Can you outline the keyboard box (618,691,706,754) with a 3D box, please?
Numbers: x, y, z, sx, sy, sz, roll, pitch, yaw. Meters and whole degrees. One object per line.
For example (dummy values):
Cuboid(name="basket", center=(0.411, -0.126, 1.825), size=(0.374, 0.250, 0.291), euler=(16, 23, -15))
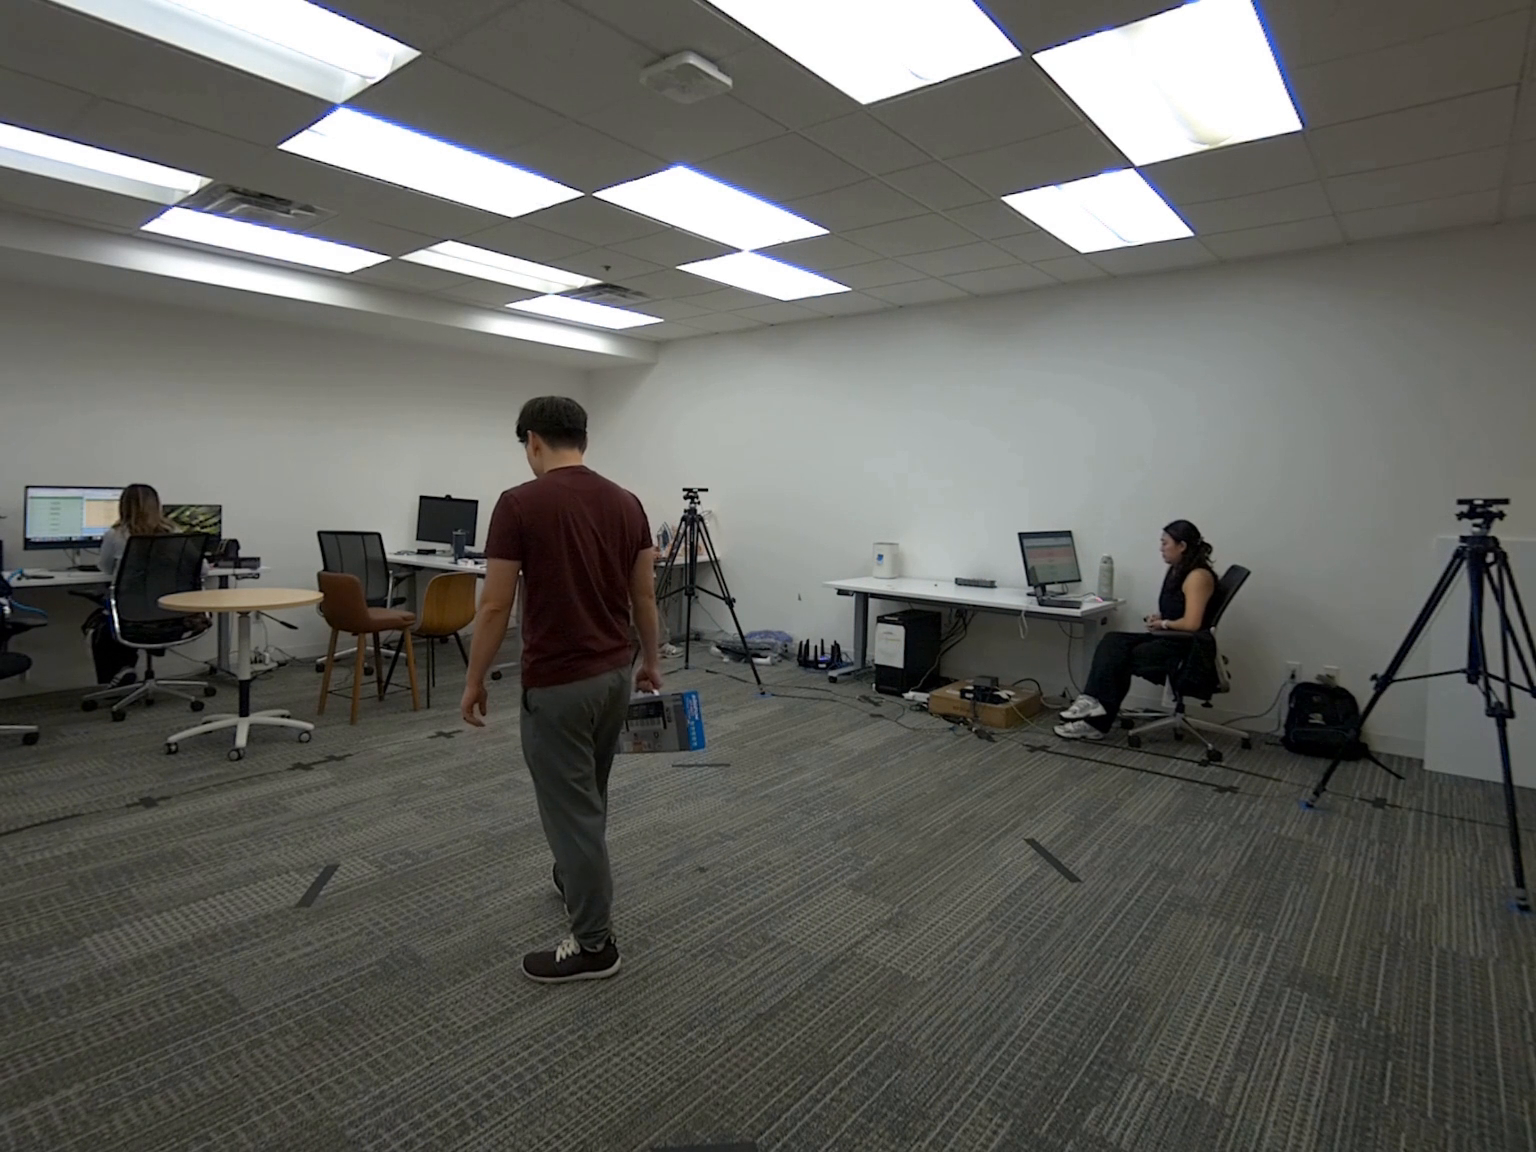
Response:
Cuboid(name="keyboard box", center=(-0.379, 0.466, 2.684), size=(0.057, 0.177, 0.446), euler=(-1, -10, -42))
